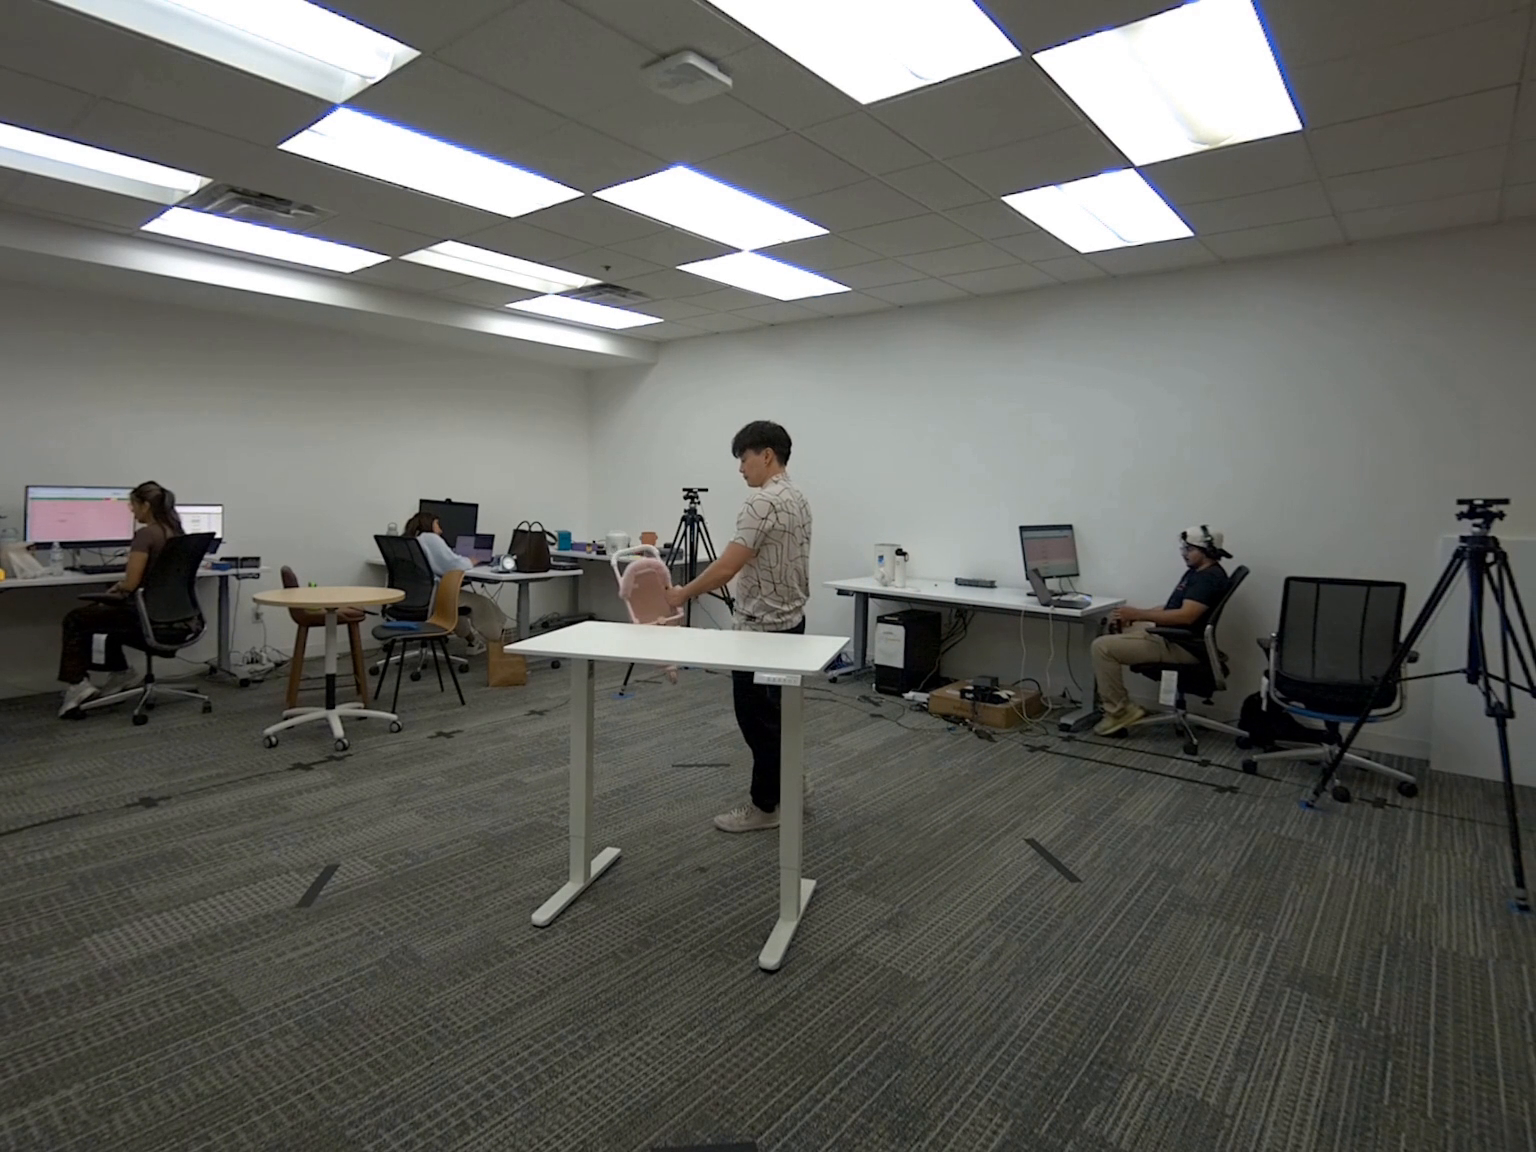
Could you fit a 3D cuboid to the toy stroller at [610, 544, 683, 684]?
[{"bbox_3d":[-0.478,0.153,3.444,0.278,0.531,0.348,-12,8,-16],"label":"toy stroller"}]
